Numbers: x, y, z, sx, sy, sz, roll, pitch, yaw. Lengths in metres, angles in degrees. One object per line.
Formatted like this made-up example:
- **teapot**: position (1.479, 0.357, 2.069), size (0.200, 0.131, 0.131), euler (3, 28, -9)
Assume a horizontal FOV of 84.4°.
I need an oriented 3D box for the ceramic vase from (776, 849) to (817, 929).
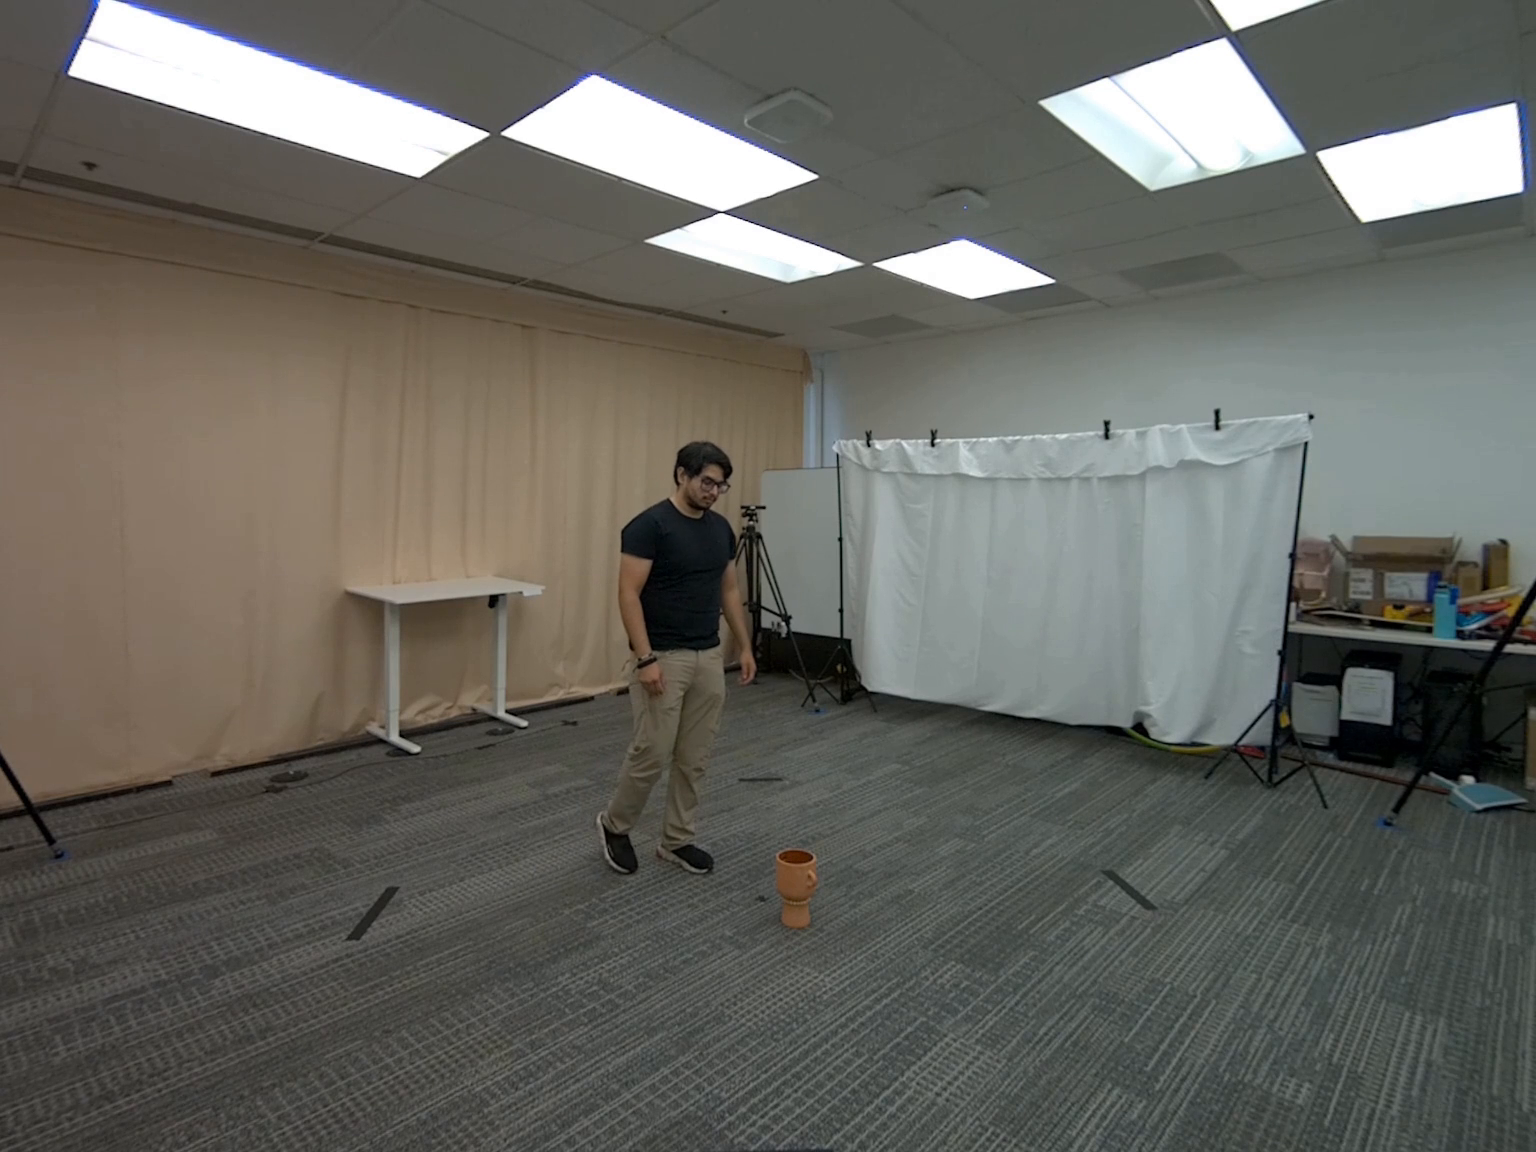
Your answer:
- **ceramic vase**: position (0.100, 1.044, 2.808), size (0.135, 0.219, 0.159), euler (1, 3, 2)
